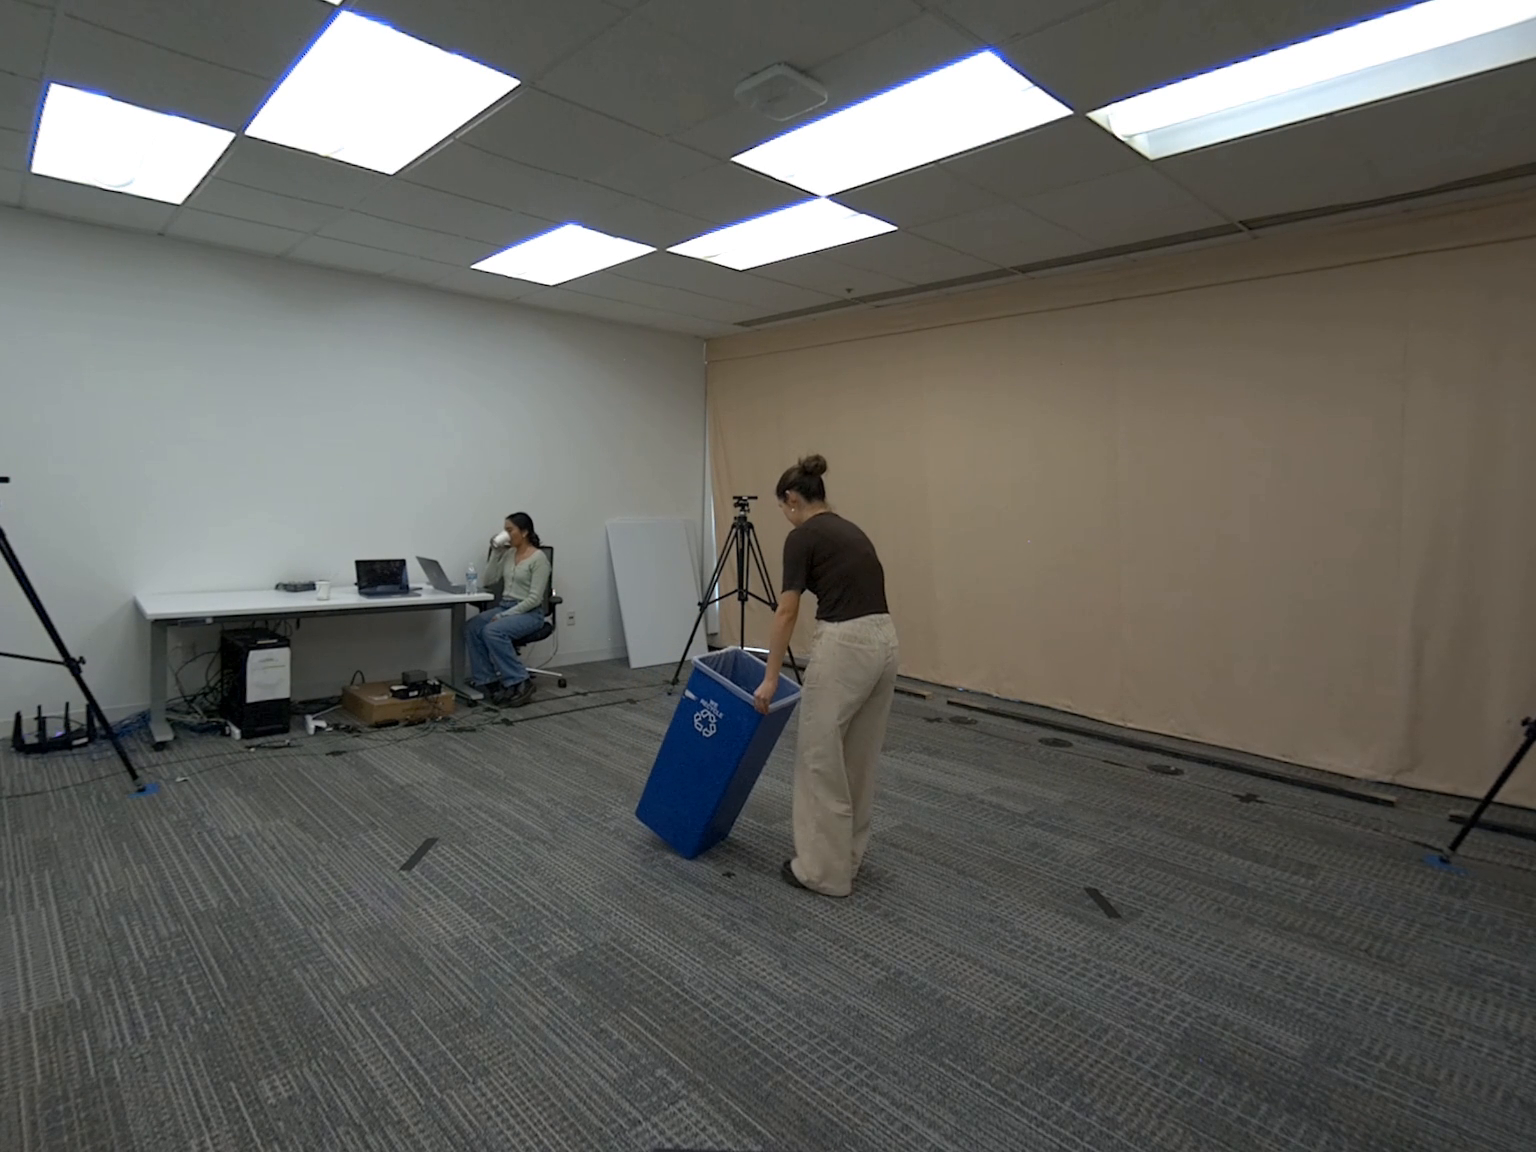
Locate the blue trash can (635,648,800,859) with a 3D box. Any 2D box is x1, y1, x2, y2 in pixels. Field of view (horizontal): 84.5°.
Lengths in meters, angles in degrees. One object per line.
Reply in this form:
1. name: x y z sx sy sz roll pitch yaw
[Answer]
1. blue trash can: -0.203 0.695 3.319 0.383 0.710 0.371 29 15 24
